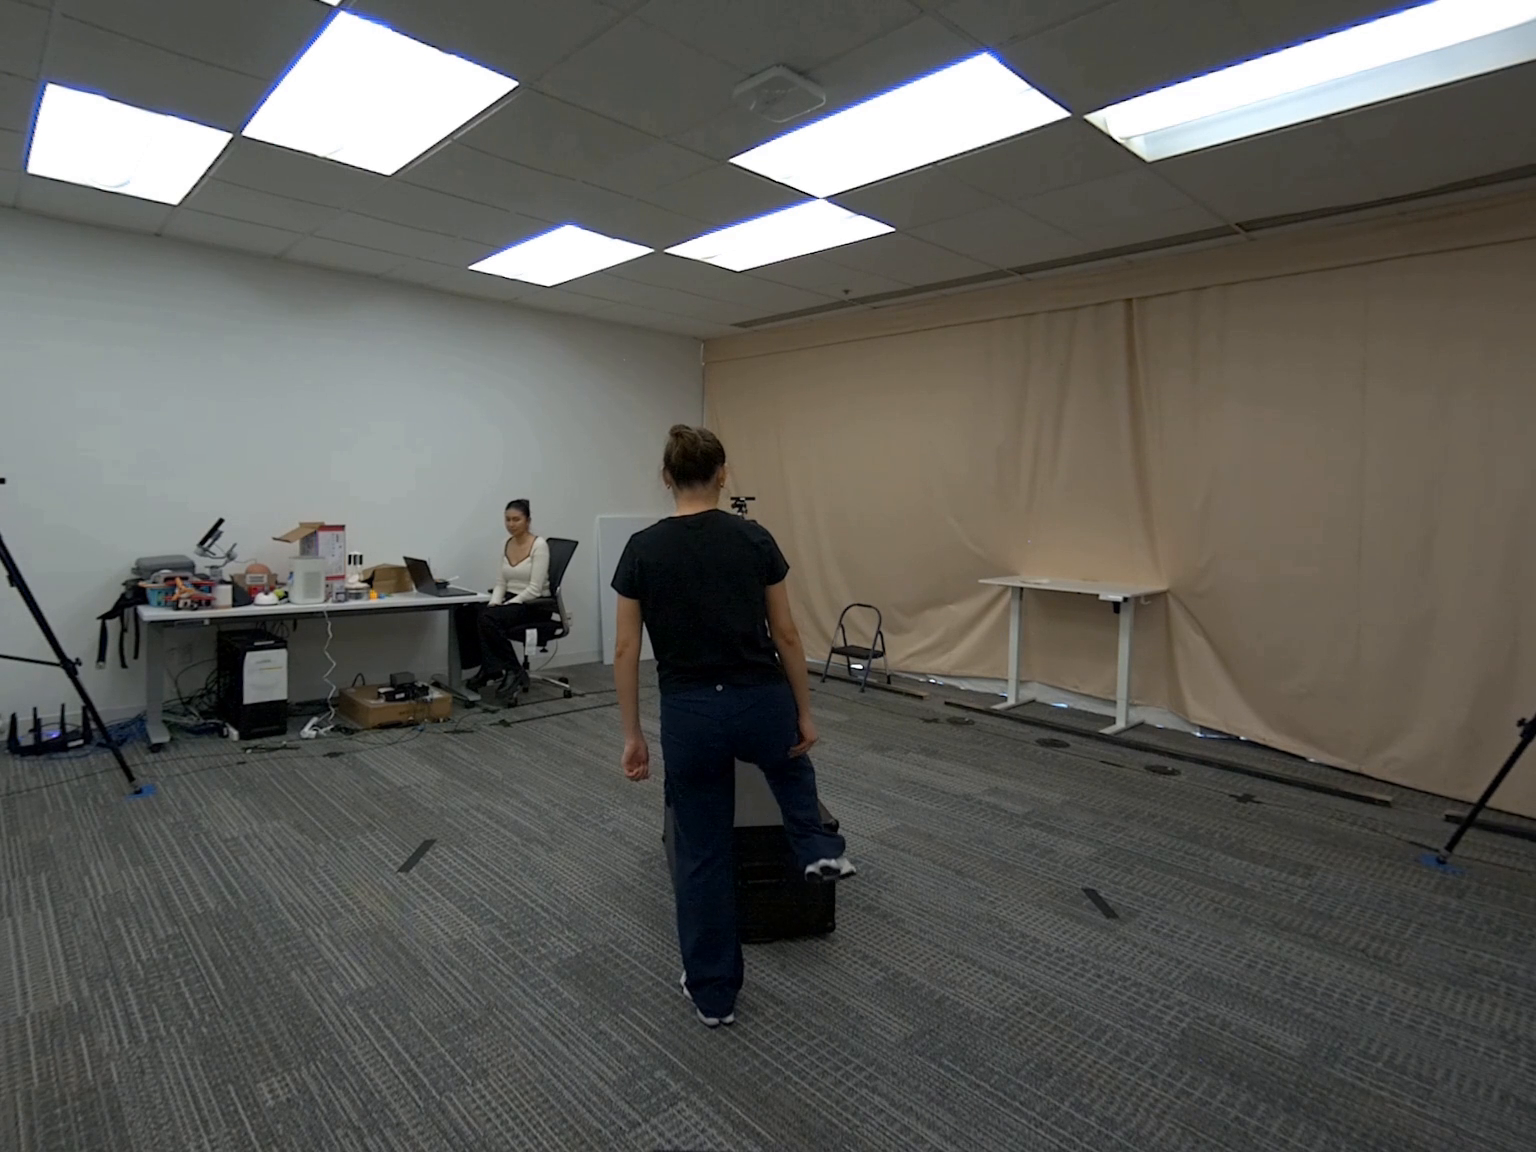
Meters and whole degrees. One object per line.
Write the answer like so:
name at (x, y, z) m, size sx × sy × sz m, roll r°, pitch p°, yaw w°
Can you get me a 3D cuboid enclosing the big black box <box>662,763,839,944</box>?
big black box at (-0.105, 0.925, 3.017) m, size 0.516 × 0.395 × 0.872 m, roll 1°, pitch 5°, yaw -13°
